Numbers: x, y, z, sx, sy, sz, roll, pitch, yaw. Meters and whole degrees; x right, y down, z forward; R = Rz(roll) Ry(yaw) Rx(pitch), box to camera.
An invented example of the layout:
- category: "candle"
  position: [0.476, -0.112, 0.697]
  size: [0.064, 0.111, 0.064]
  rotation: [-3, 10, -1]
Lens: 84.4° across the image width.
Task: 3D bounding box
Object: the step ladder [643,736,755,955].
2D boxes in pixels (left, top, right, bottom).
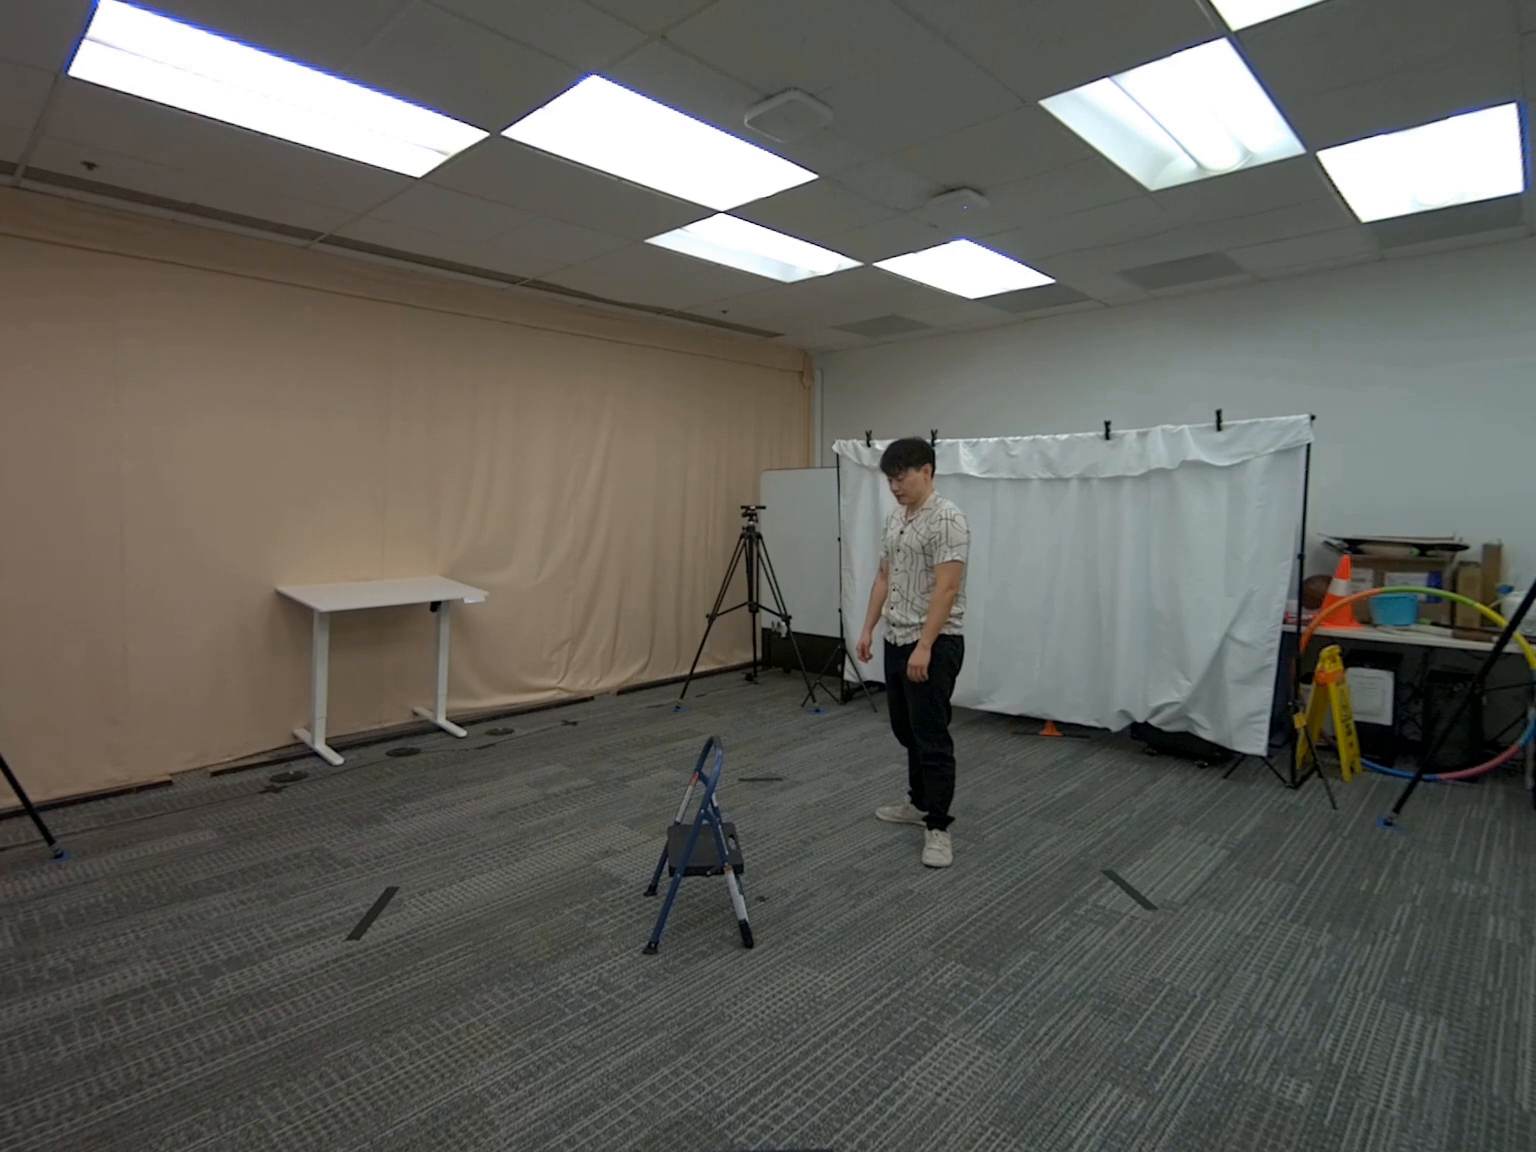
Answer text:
- category: "step ladder"
  position: [-0.238, 0.859, 2.821]
  size: [0.347, 0.604, 0.435]
  rotation: [-1, 4, -7]
